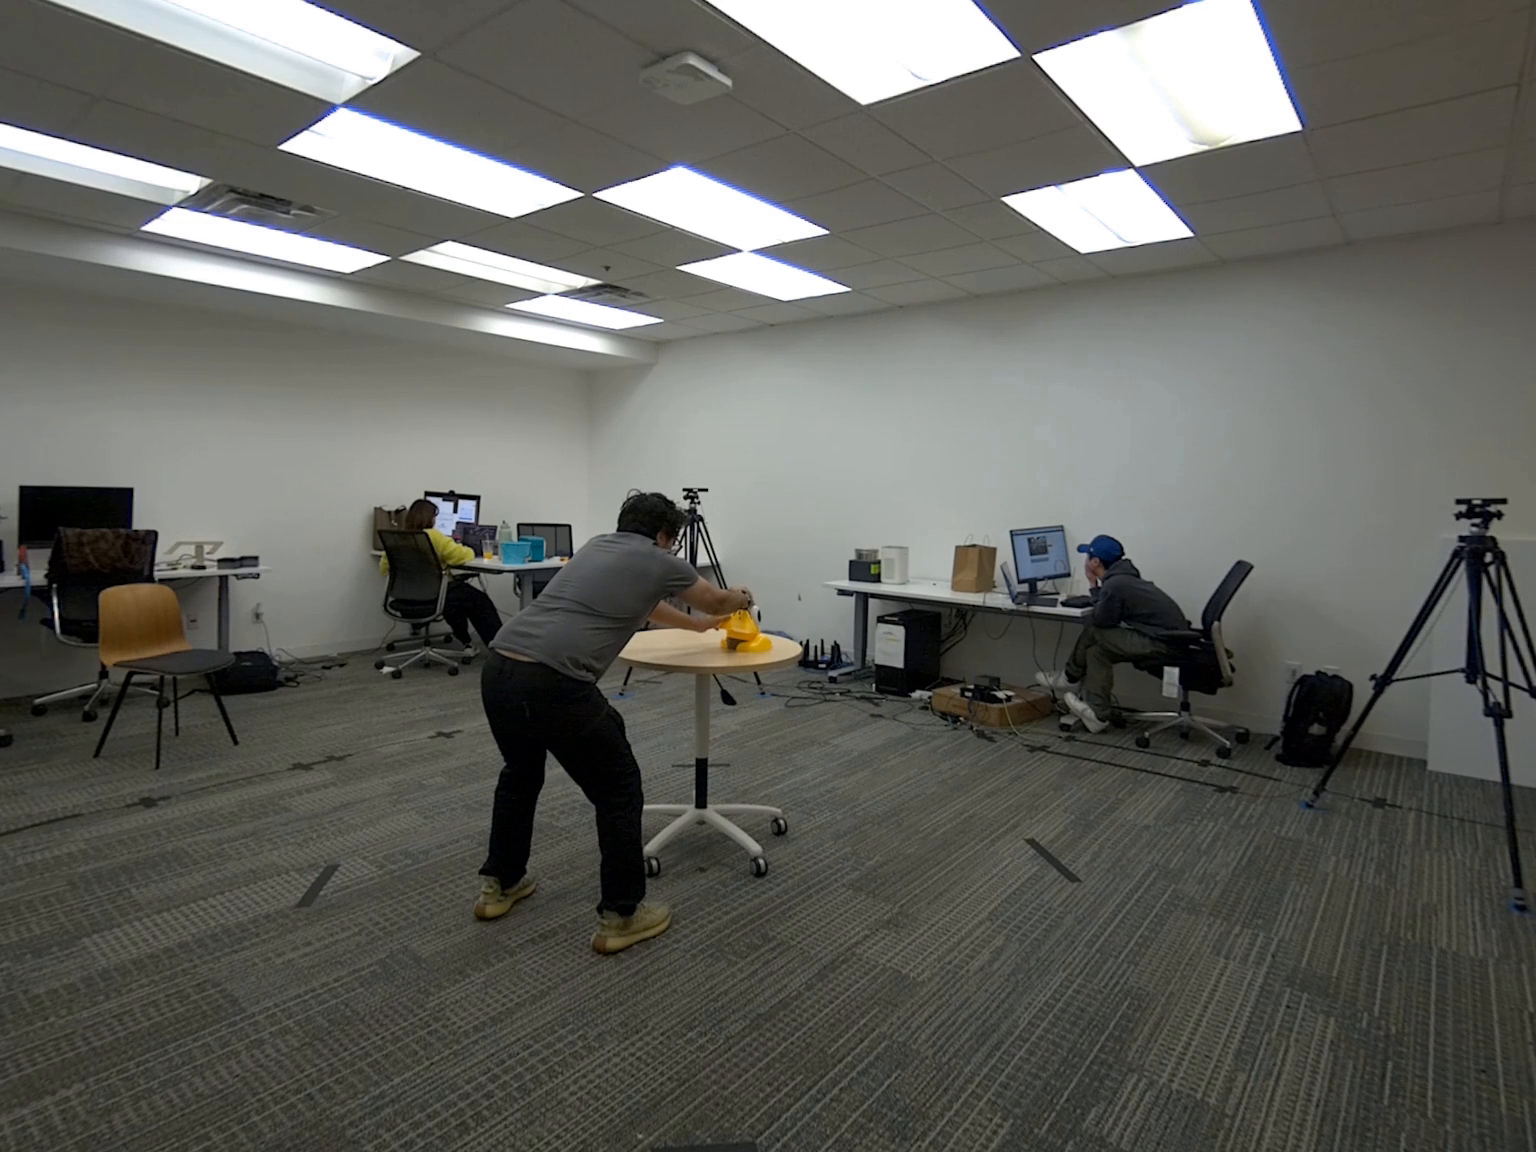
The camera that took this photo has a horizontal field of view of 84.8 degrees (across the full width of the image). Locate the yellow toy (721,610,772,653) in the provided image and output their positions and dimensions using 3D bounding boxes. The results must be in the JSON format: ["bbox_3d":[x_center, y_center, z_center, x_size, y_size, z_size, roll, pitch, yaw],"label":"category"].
[{"bbox_3d":[-0.100,0.160,3.293,0.212,0.230,0.187,5,7,43],"label":"yellow toy"}]
